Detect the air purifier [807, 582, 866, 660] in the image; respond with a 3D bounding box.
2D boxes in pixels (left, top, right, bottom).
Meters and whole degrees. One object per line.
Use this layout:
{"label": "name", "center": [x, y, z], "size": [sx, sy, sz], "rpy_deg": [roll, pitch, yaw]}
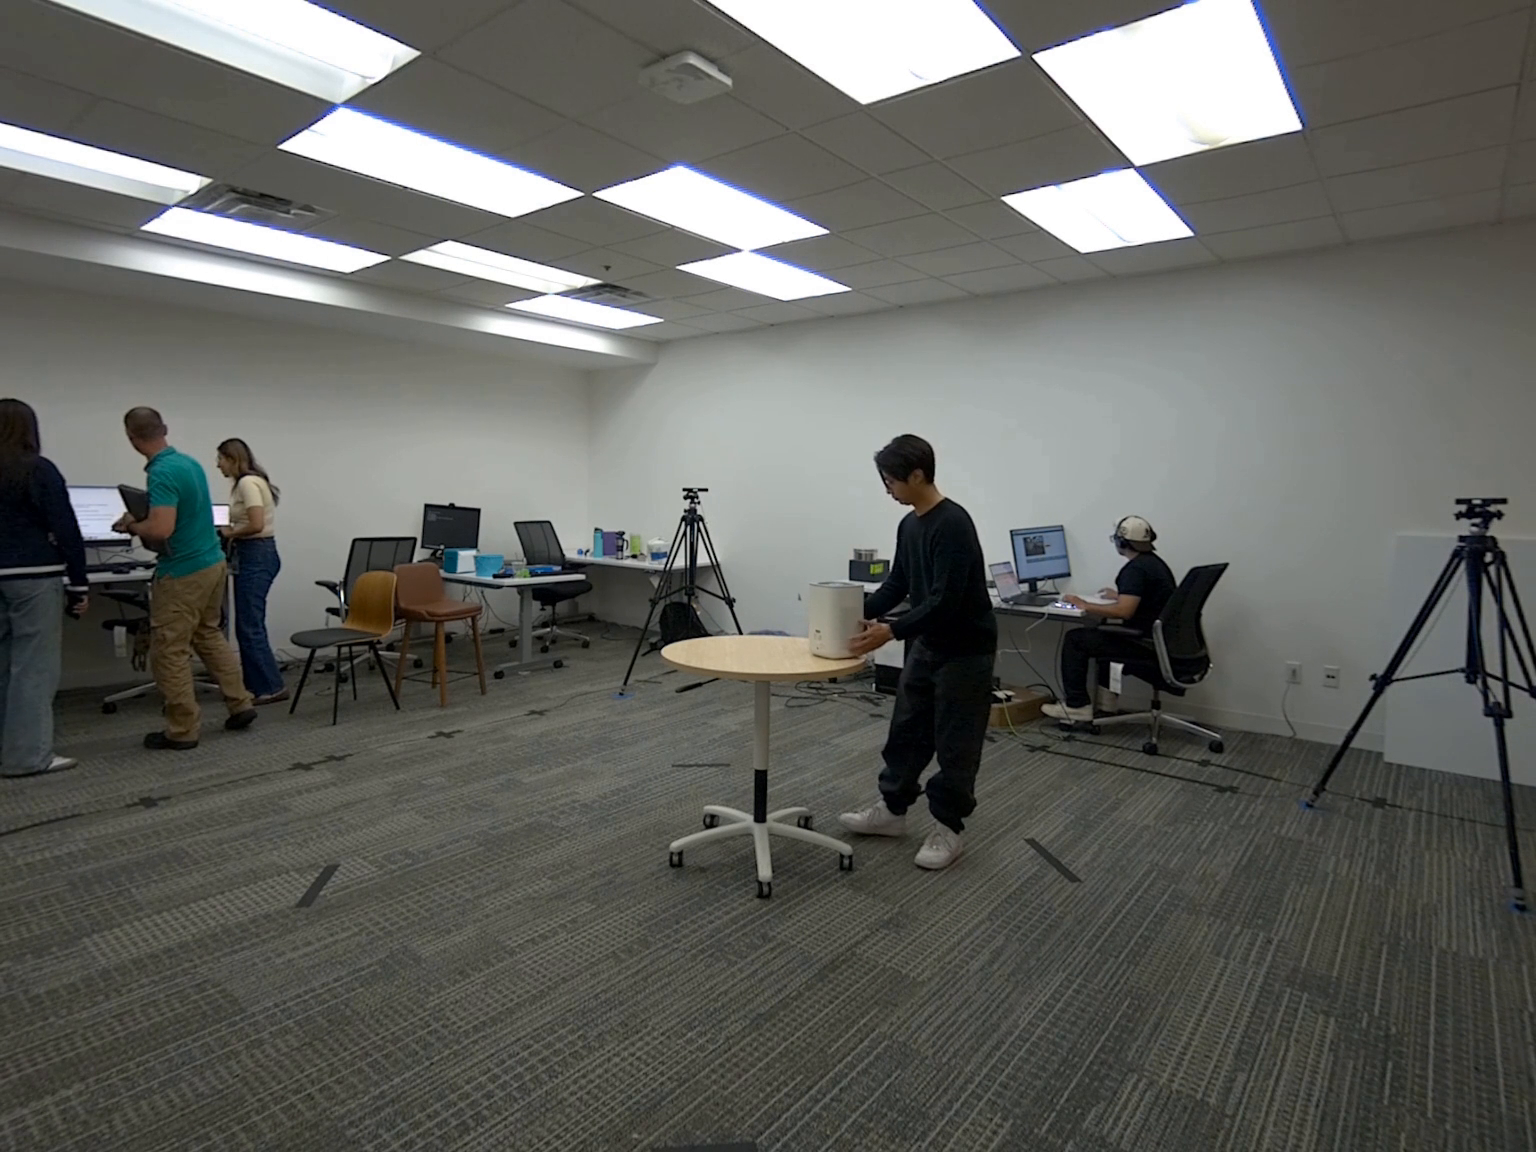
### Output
{"label": "air purifier", "center": [0.243, 0.156, 3.136], "size": [0.167, 0.265, 0.176], "rpy_deg": [-1, 3, -33]}
